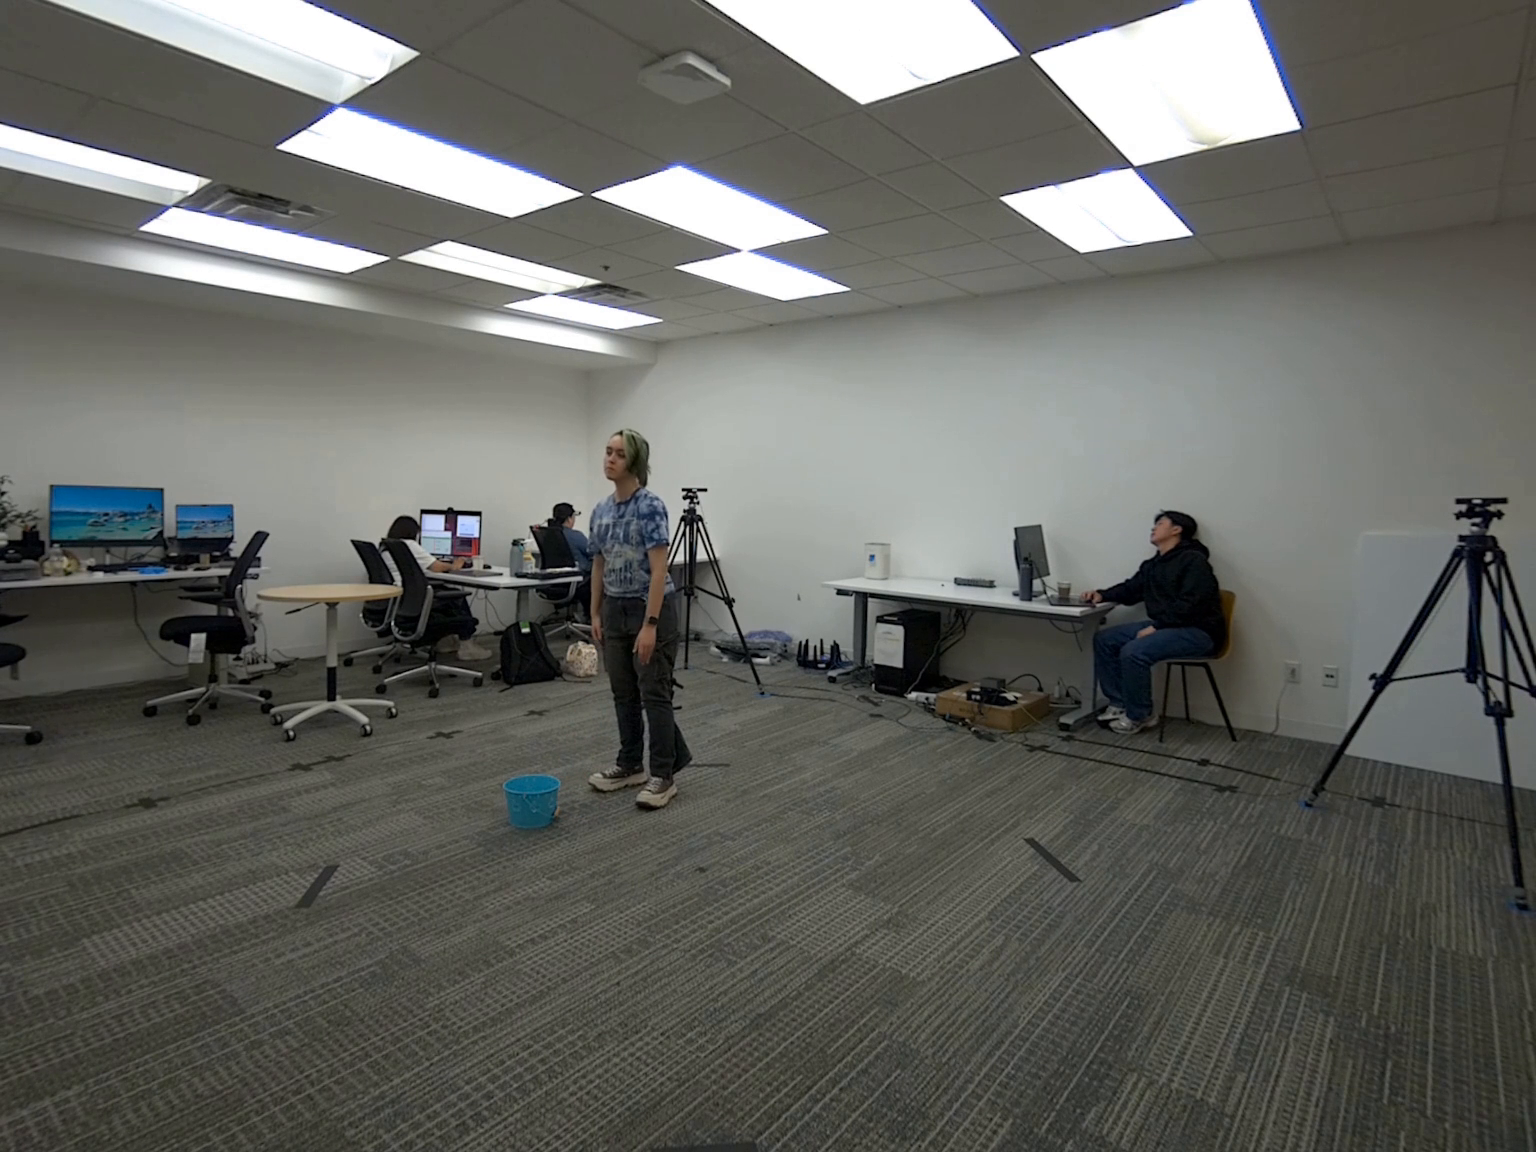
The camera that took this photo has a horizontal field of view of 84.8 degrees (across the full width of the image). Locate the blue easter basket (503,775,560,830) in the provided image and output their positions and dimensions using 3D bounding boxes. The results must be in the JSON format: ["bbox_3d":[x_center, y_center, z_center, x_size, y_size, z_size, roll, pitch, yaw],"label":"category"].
[{"bbox_3d":[-0.995,0.938,3.544,0.243,0.155,0.245,1,6,-2],"label":"blue easter basket"}]
